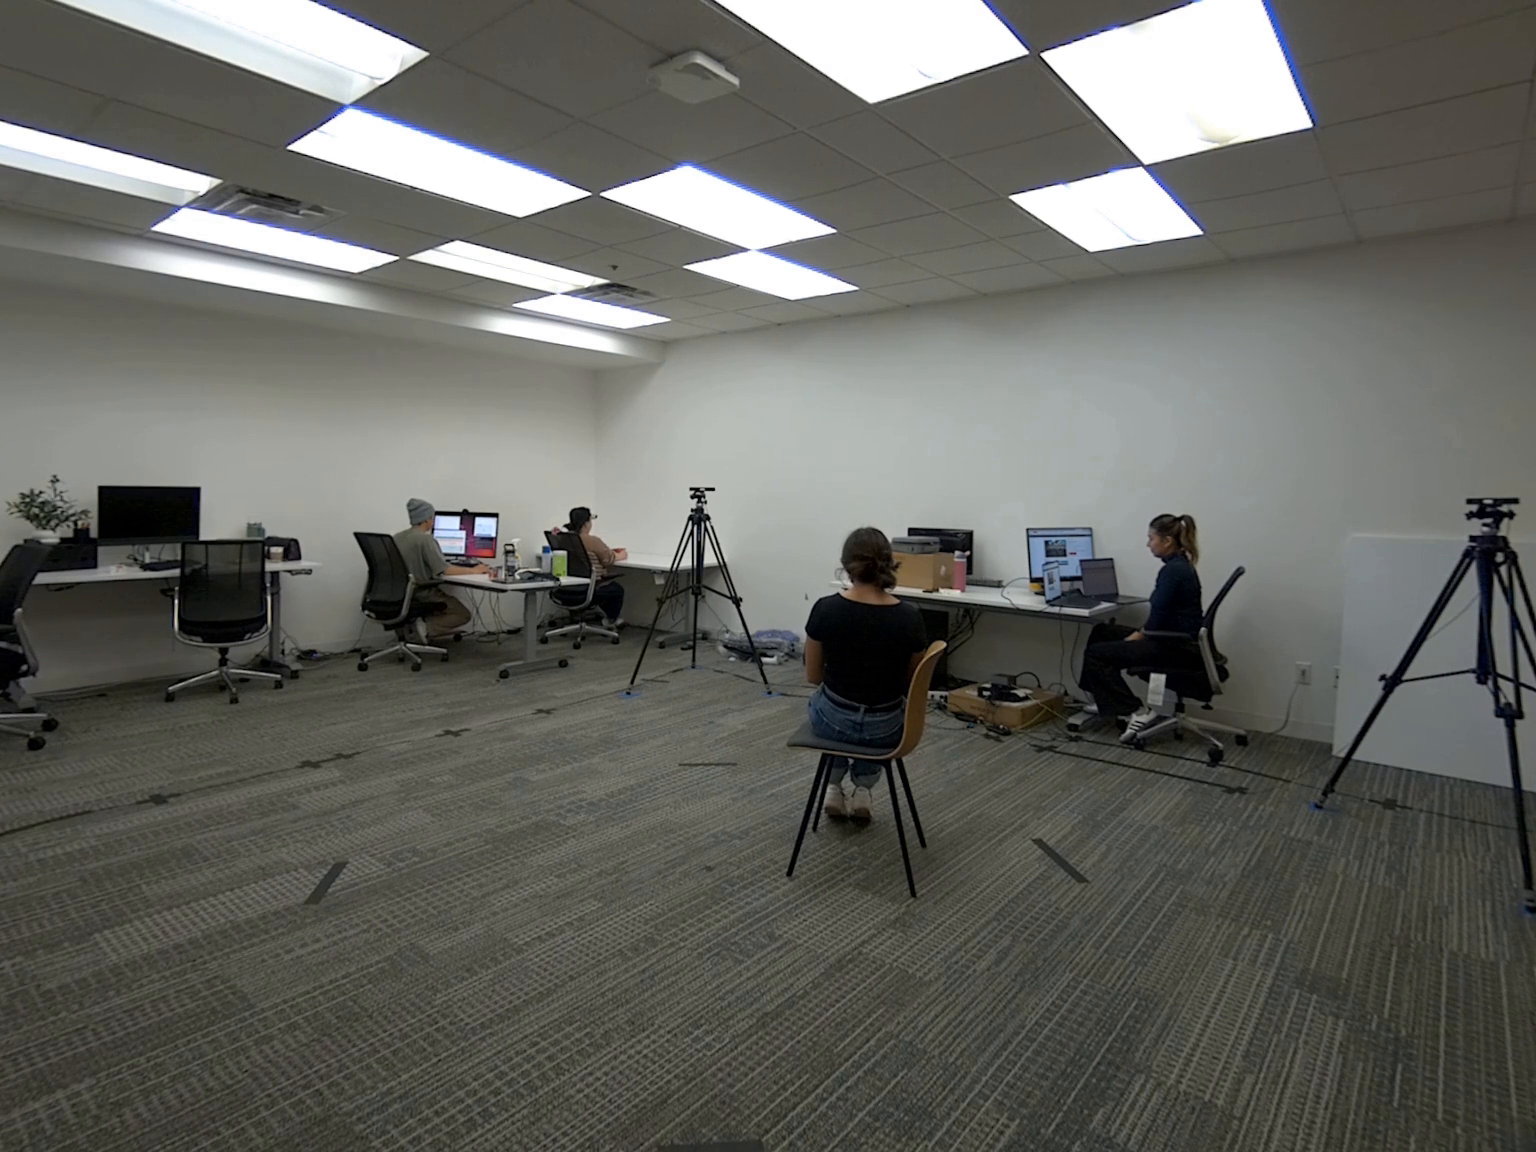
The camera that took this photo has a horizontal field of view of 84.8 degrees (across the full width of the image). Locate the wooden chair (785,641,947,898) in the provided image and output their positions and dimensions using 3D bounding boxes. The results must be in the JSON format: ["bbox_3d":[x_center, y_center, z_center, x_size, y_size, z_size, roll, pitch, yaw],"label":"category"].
[{"bbox_3d":[0.344,0.647,3.170,0.534,0.875,0.470,7,4,17],"label":"wooden chair"}]
